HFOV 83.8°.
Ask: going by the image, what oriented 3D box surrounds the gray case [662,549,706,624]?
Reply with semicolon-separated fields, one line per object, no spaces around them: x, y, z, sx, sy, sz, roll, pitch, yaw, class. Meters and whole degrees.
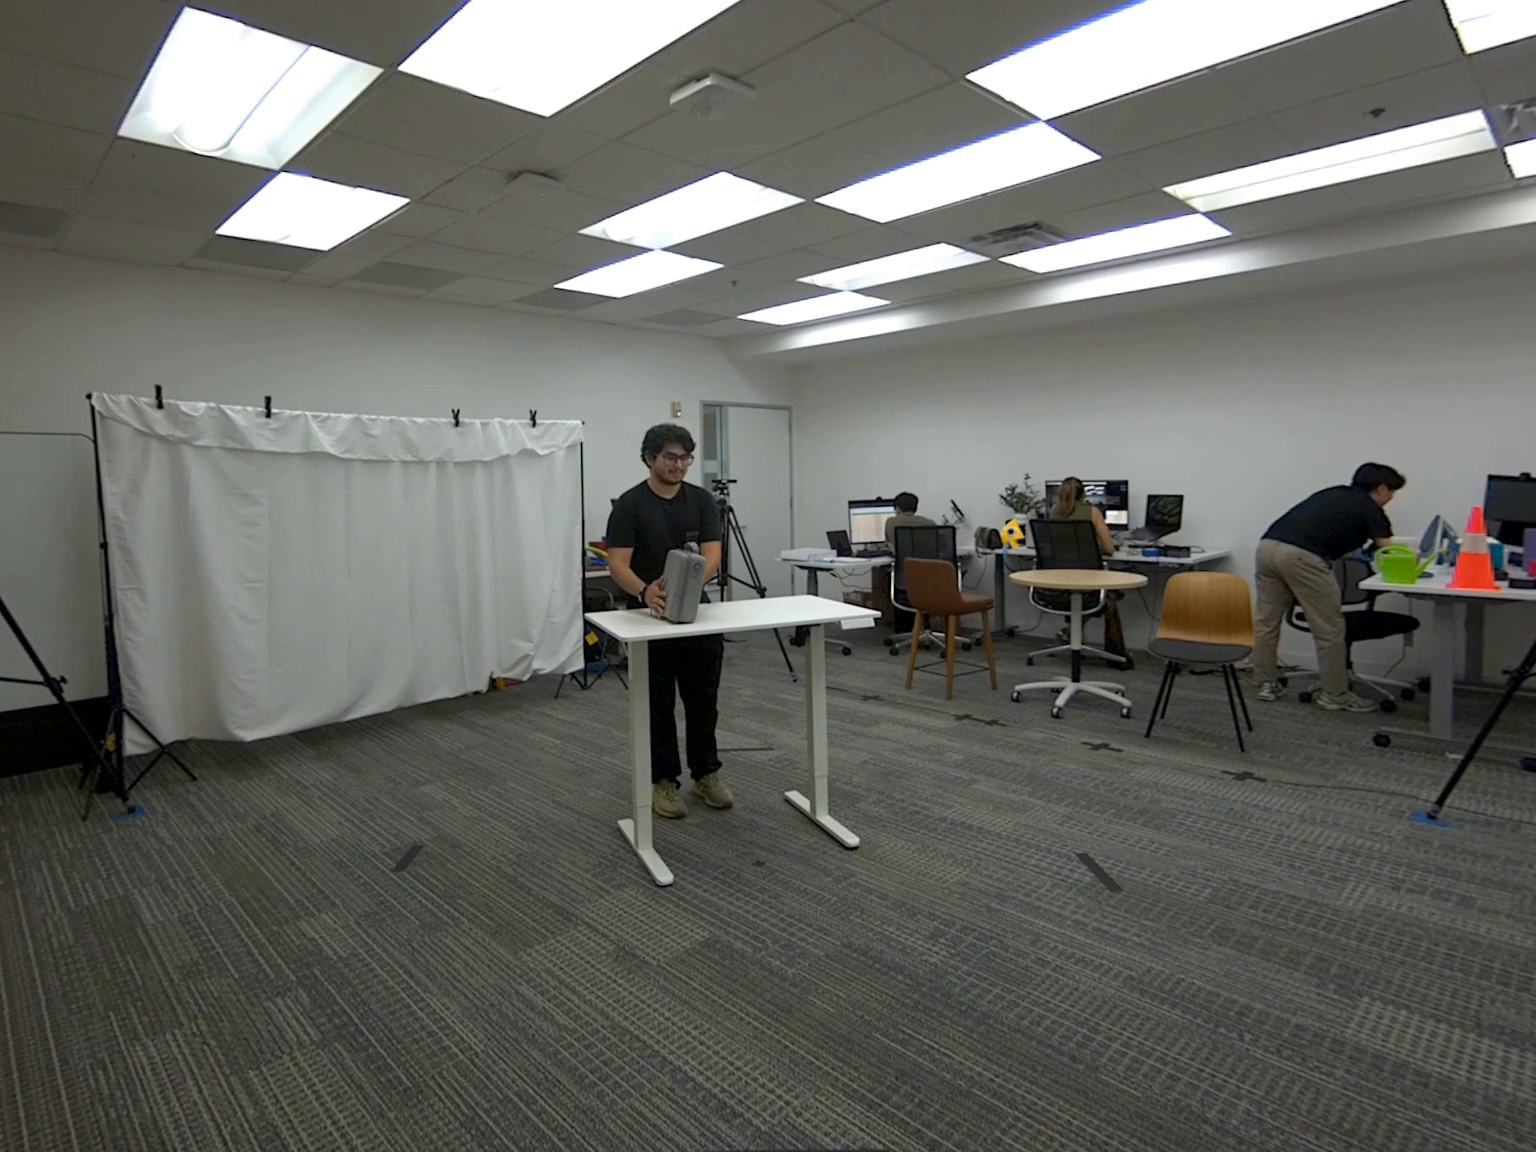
-0.325;0.032;3.182;0.103;0.260;0.261;6;2;-15;gray case
